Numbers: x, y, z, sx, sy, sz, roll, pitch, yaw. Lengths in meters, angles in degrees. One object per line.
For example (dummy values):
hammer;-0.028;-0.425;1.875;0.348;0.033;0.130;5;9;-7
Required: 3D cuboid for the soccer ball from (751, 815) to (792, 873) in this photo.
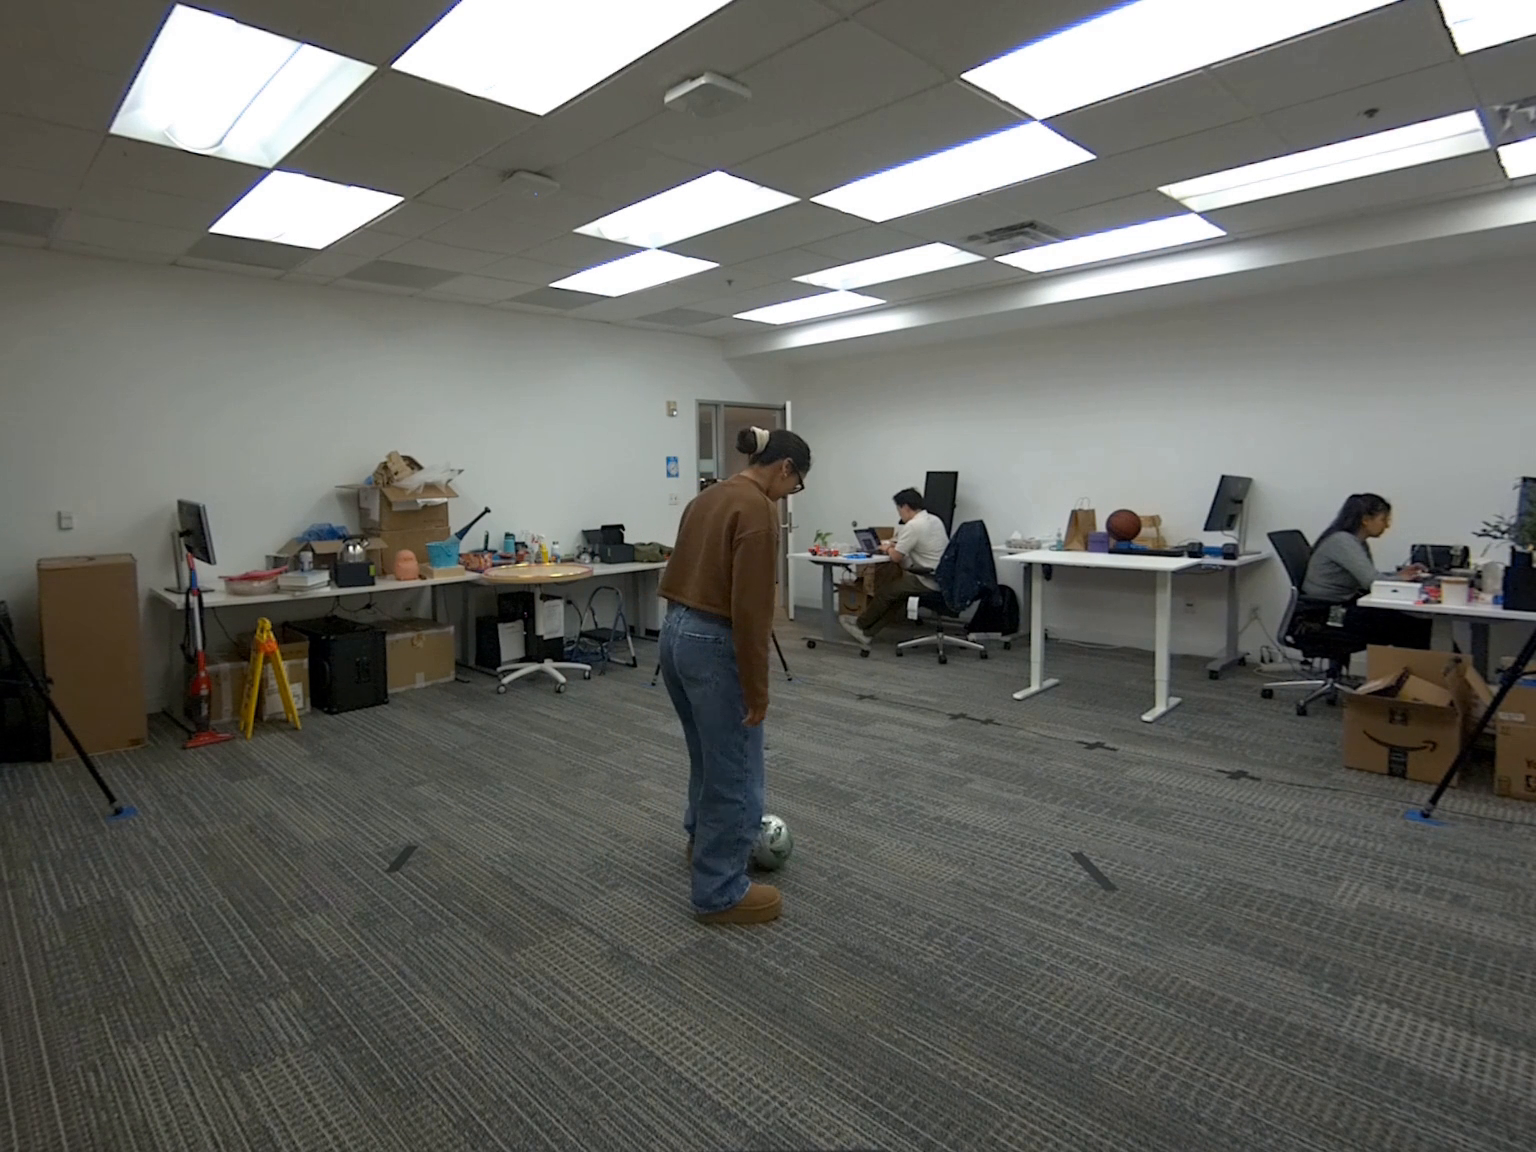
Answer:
soccer ball;0.000;0.948;3.065;0.187;0.187;0.188;-1;5;-2
